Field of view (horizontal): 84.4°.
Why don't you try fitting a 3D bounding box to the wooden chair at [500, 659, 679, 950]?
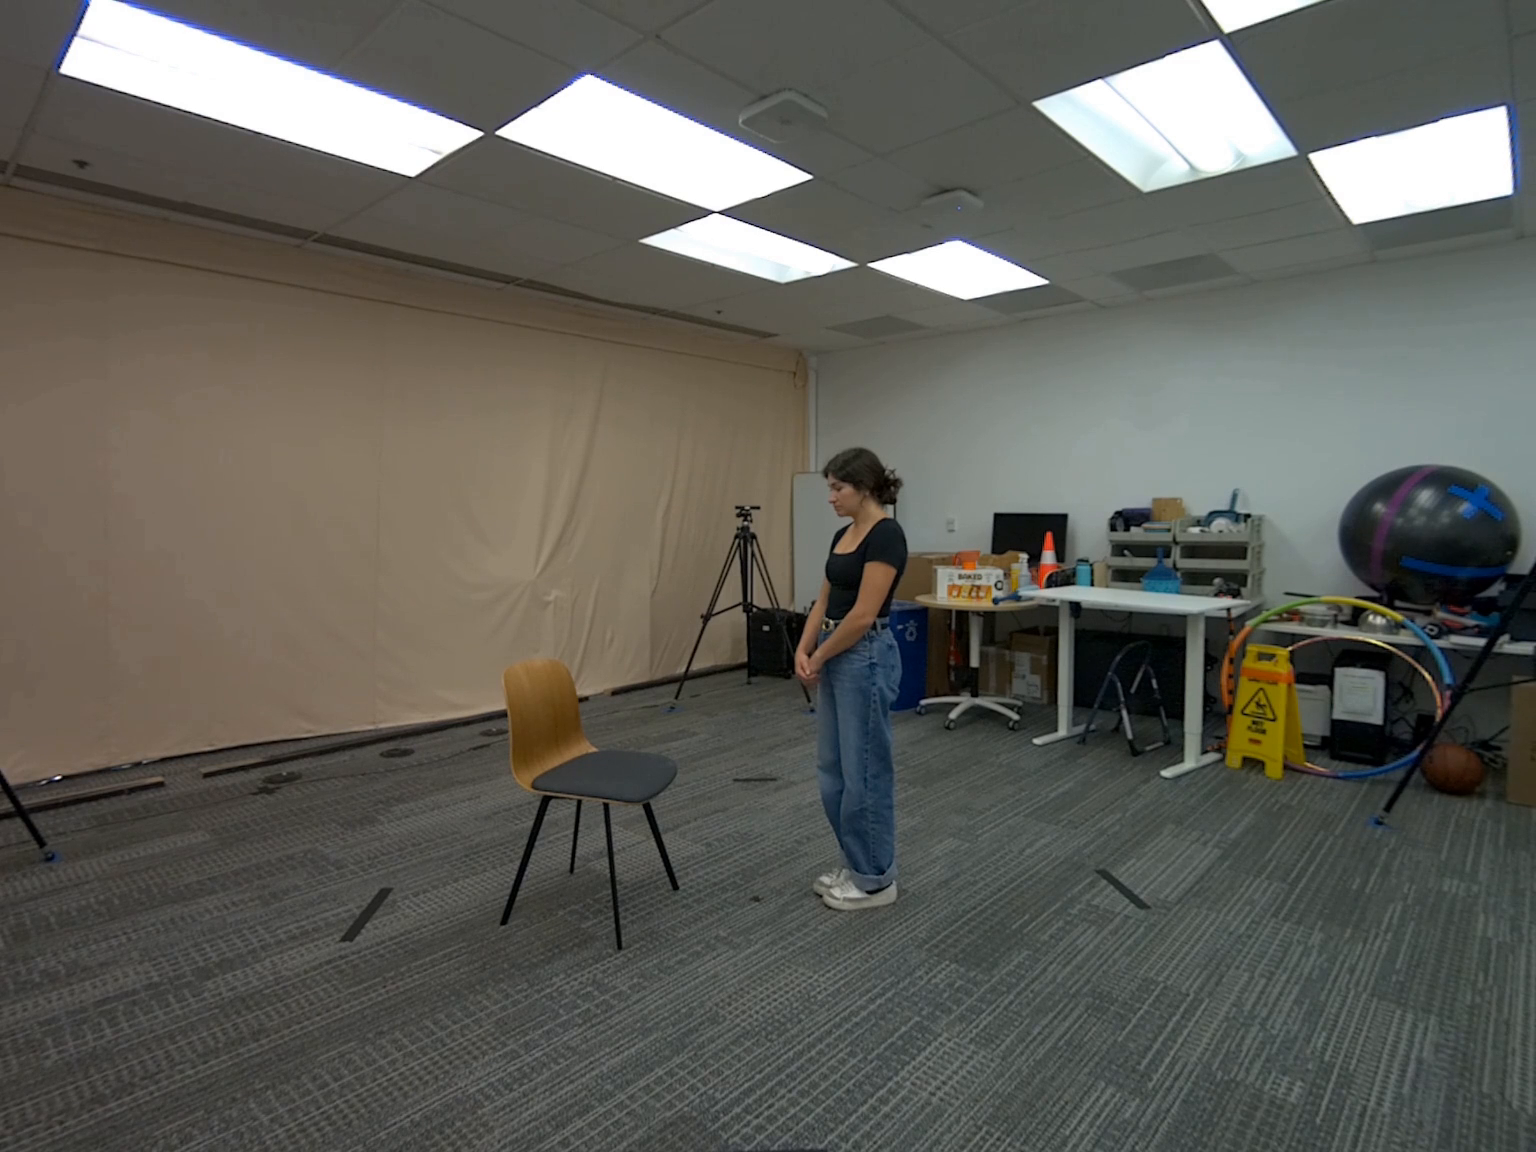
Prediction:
[{"bbox_3d":[-0.604,0.733,2.906,0.534,0.877,0.468,-4,1,21],"label":"wooden chair"}]
